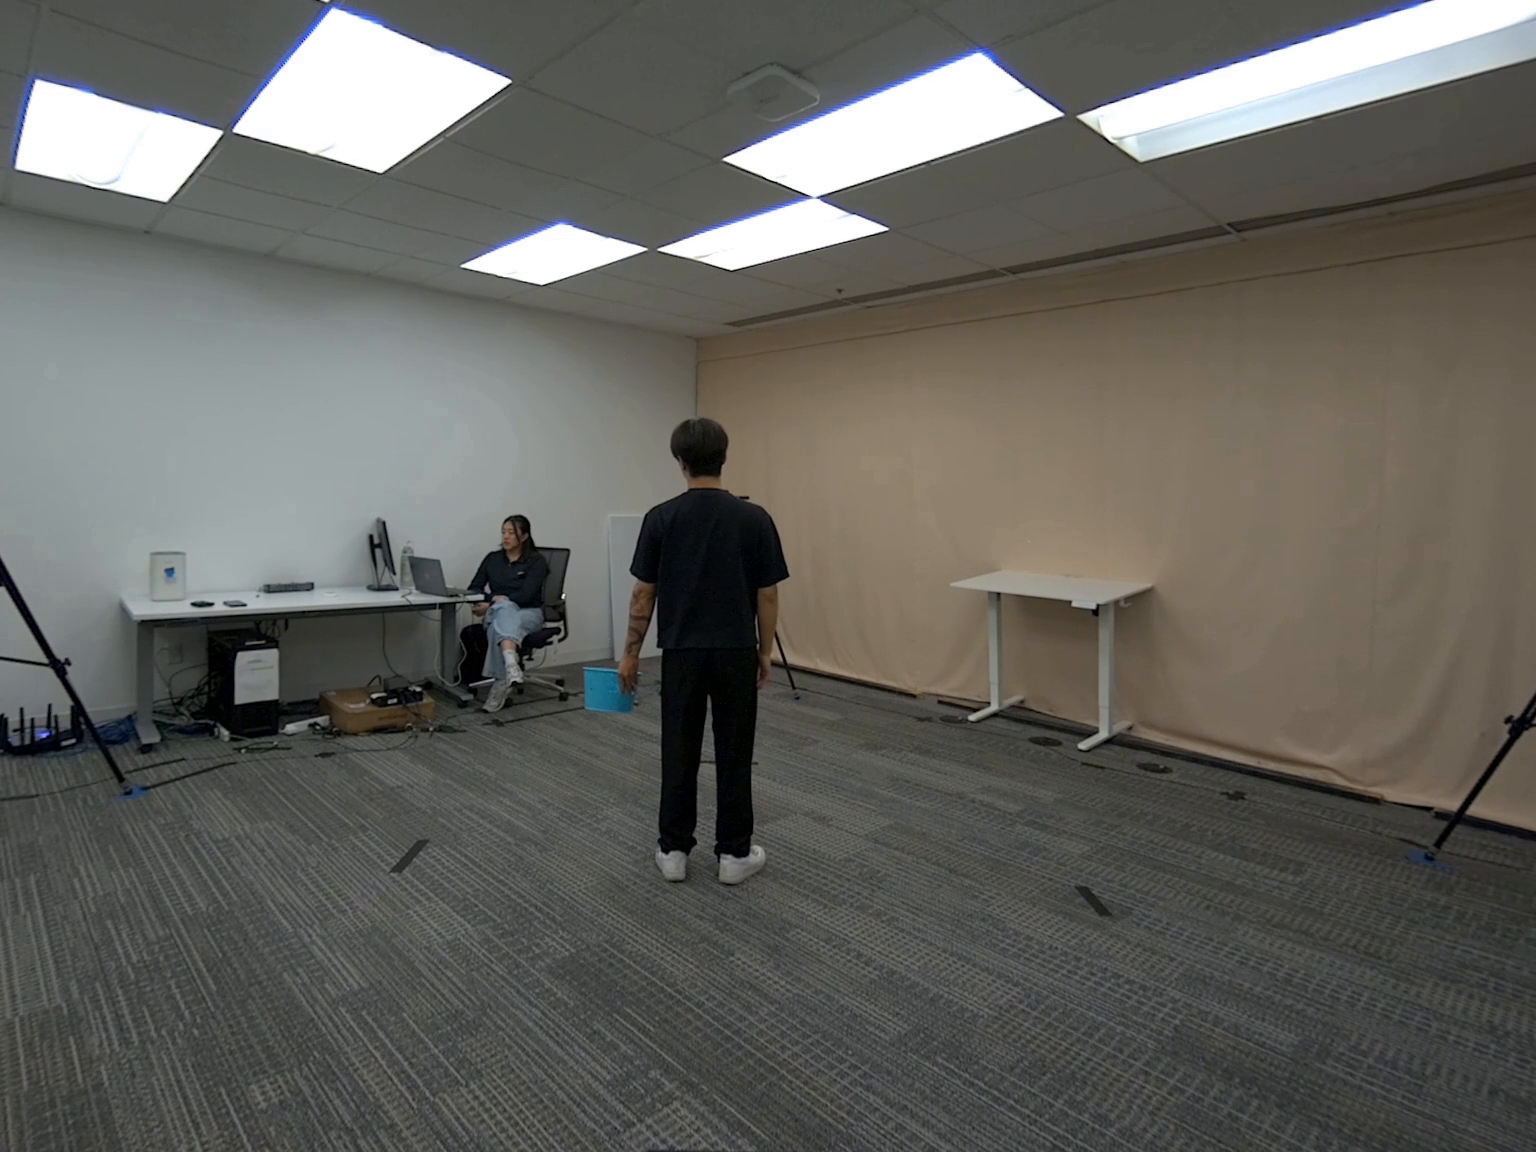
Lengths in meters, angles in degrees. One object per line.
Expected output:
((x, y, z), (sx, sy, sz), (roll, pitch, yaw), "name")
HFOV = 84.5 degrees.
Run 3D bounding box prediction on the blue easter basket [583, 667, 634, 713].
((-0.603, 0.442, 3.268), (0.243, 0.156, 0.242), (6, -5, -1), "blue easter basket")
